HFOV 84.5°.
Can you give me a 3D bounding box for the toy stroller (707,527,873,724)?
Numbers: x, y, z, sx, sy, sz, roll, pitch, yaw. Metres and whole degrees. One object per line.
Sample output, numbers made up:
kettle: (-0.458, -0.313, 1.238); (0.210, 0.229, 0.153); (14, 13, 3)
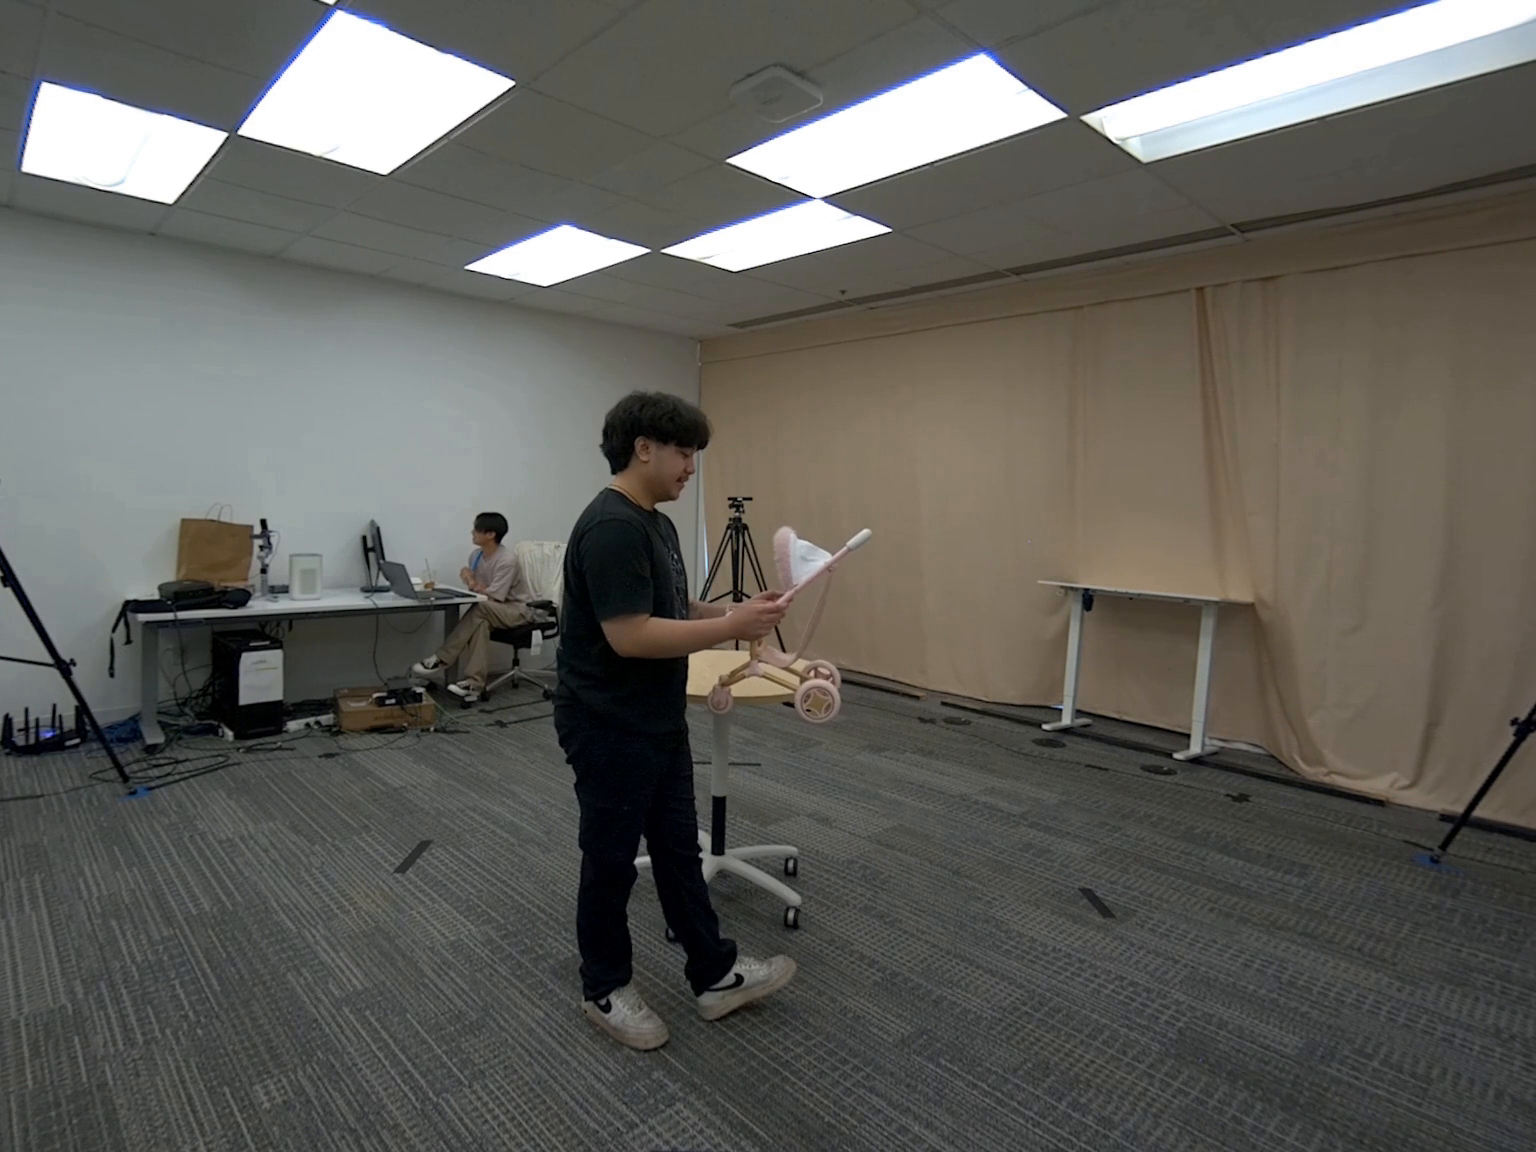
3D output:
toy stroller: (0.045, 0.119, 2.126); (0.345, 0.533, 0.279); (11, 4, 11)
